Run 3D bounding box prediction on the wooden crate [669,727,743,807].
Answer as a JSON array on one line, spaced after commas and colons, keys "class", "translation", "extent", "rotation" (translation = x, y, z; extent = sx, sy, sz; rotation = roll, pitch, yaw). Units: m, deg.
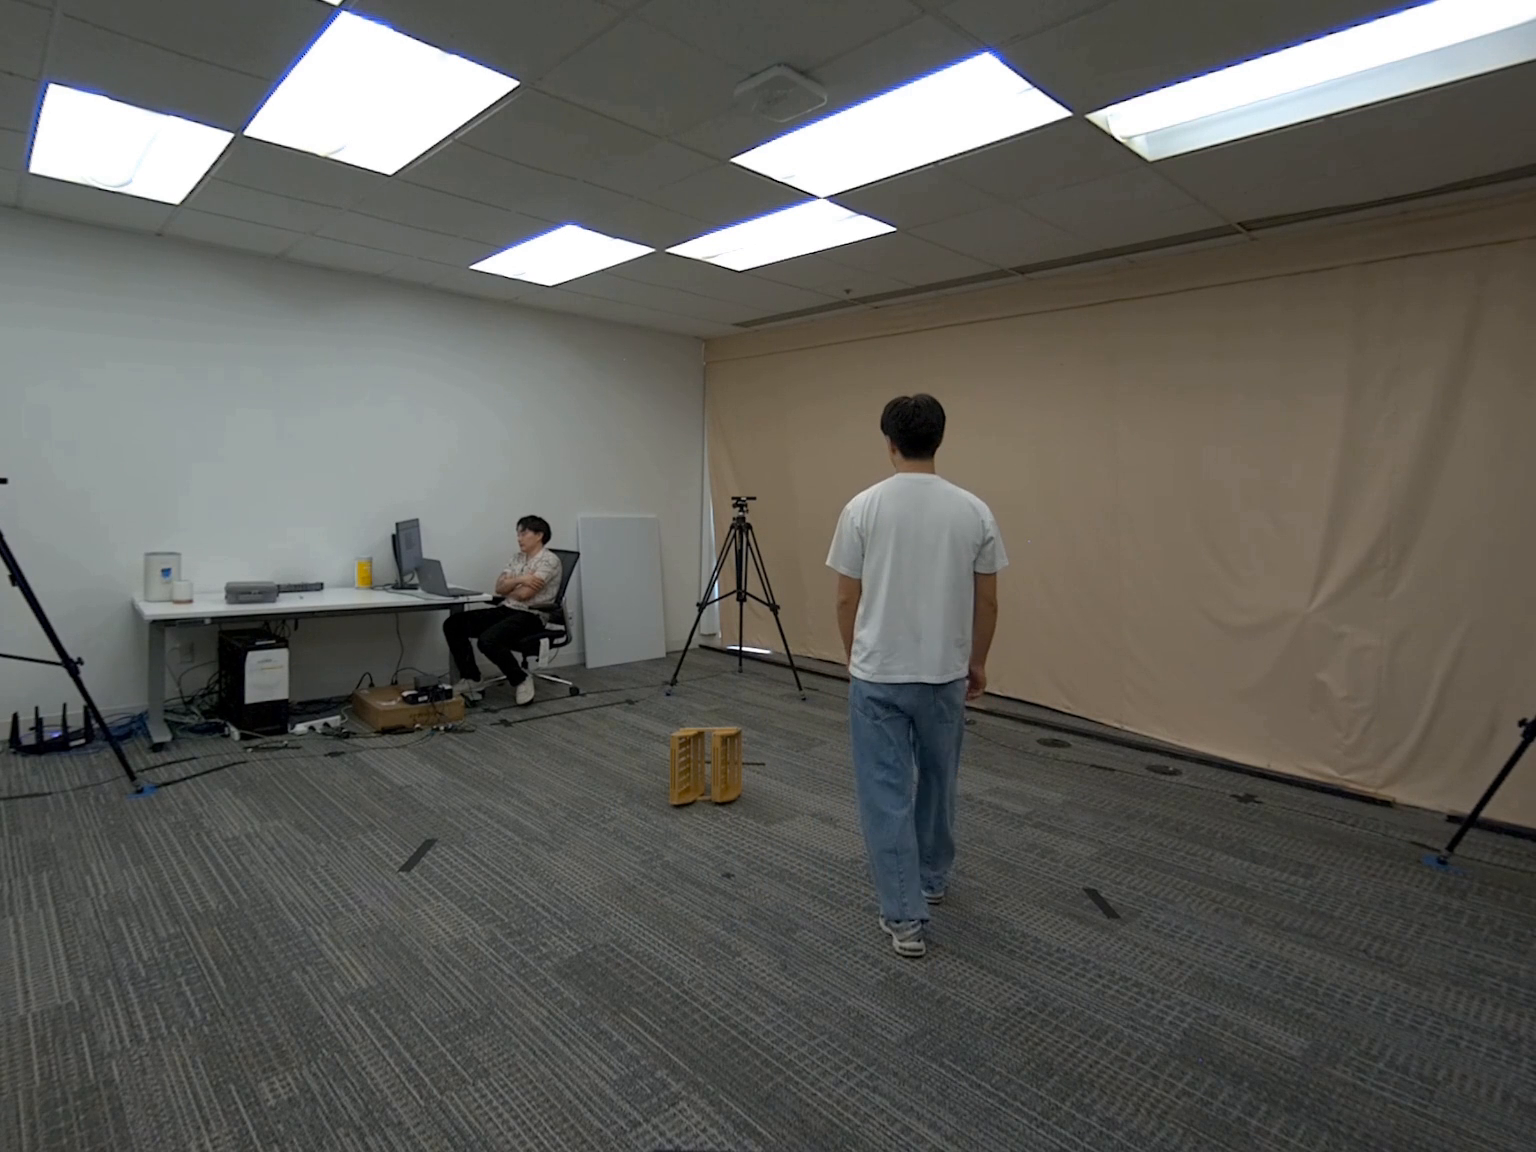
[{"class": "wooden crate", "translation": [-0.288, 0.869, 3.873], "extent": [0.277, 0.325, 0.298], "rotation": [0, -2, 15]}]
